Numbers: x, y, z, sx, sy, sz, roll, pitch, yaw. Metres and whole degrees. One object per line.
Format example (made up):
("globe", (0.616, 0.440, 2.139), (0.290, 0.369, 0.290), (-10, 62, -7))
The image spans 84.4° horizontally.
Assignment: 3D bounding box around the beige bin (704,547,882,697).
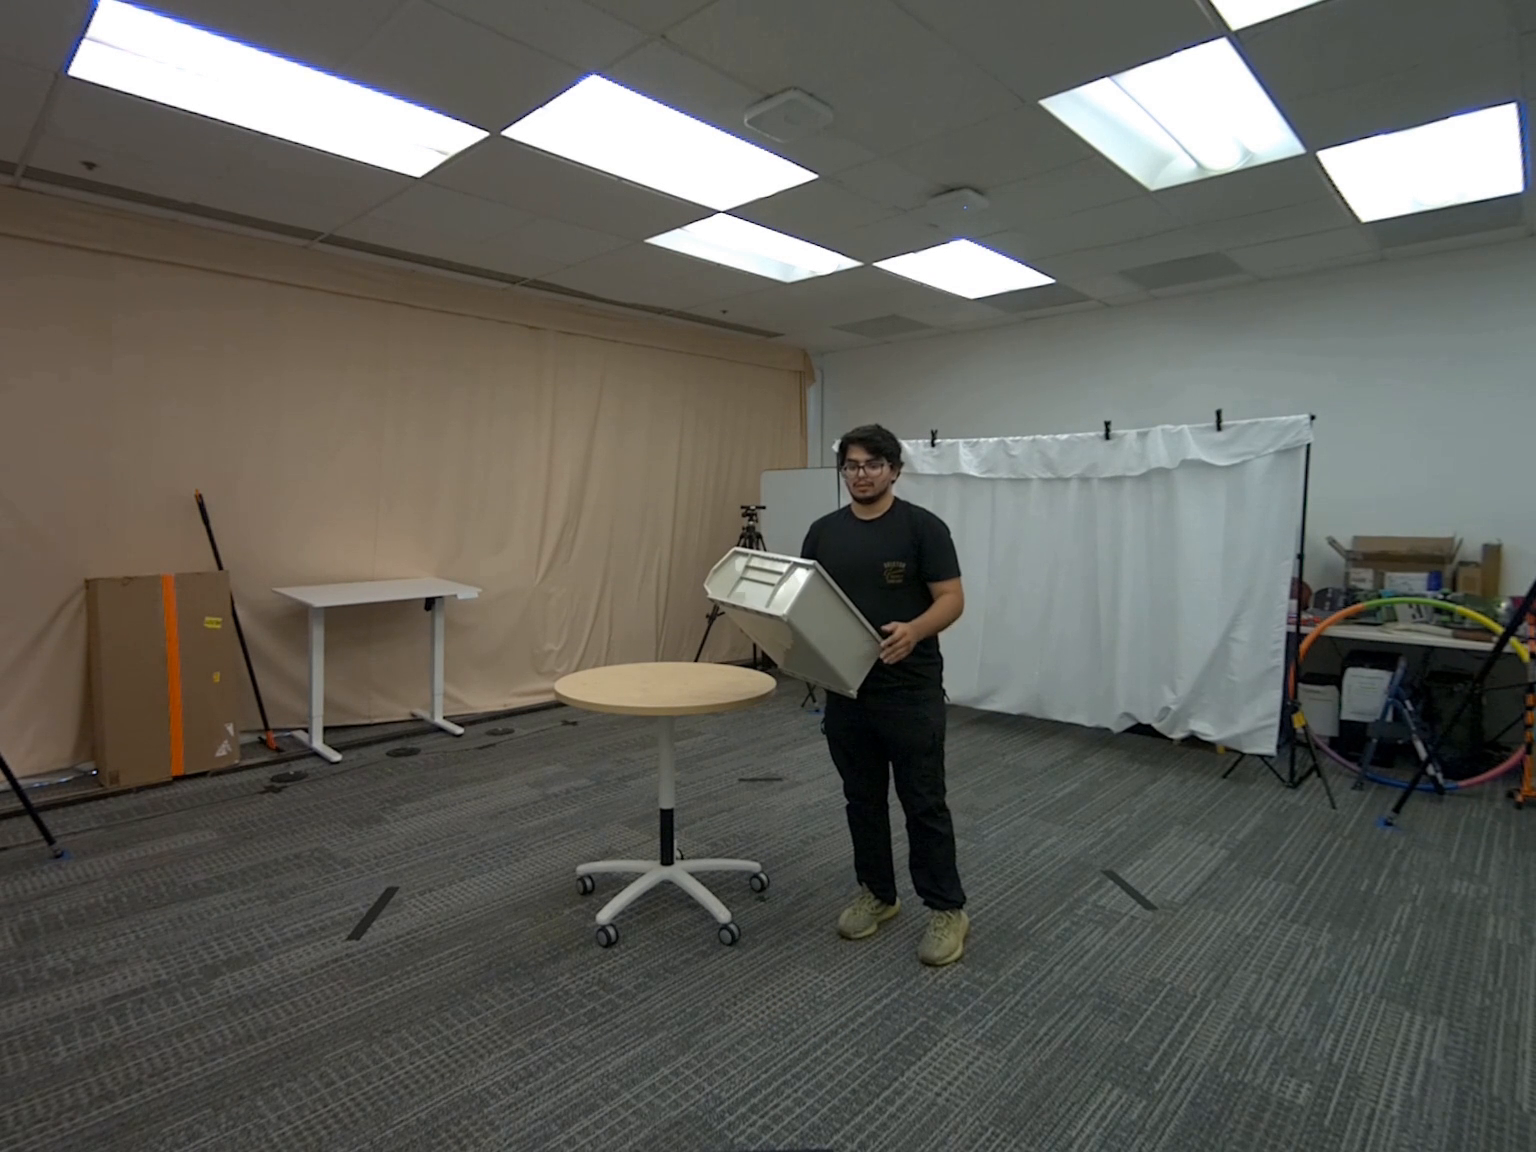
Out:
("beige bin", (0.075, 0.132, 2.449), (0.390, 0.188, 0.409), (13, -29, 50))
